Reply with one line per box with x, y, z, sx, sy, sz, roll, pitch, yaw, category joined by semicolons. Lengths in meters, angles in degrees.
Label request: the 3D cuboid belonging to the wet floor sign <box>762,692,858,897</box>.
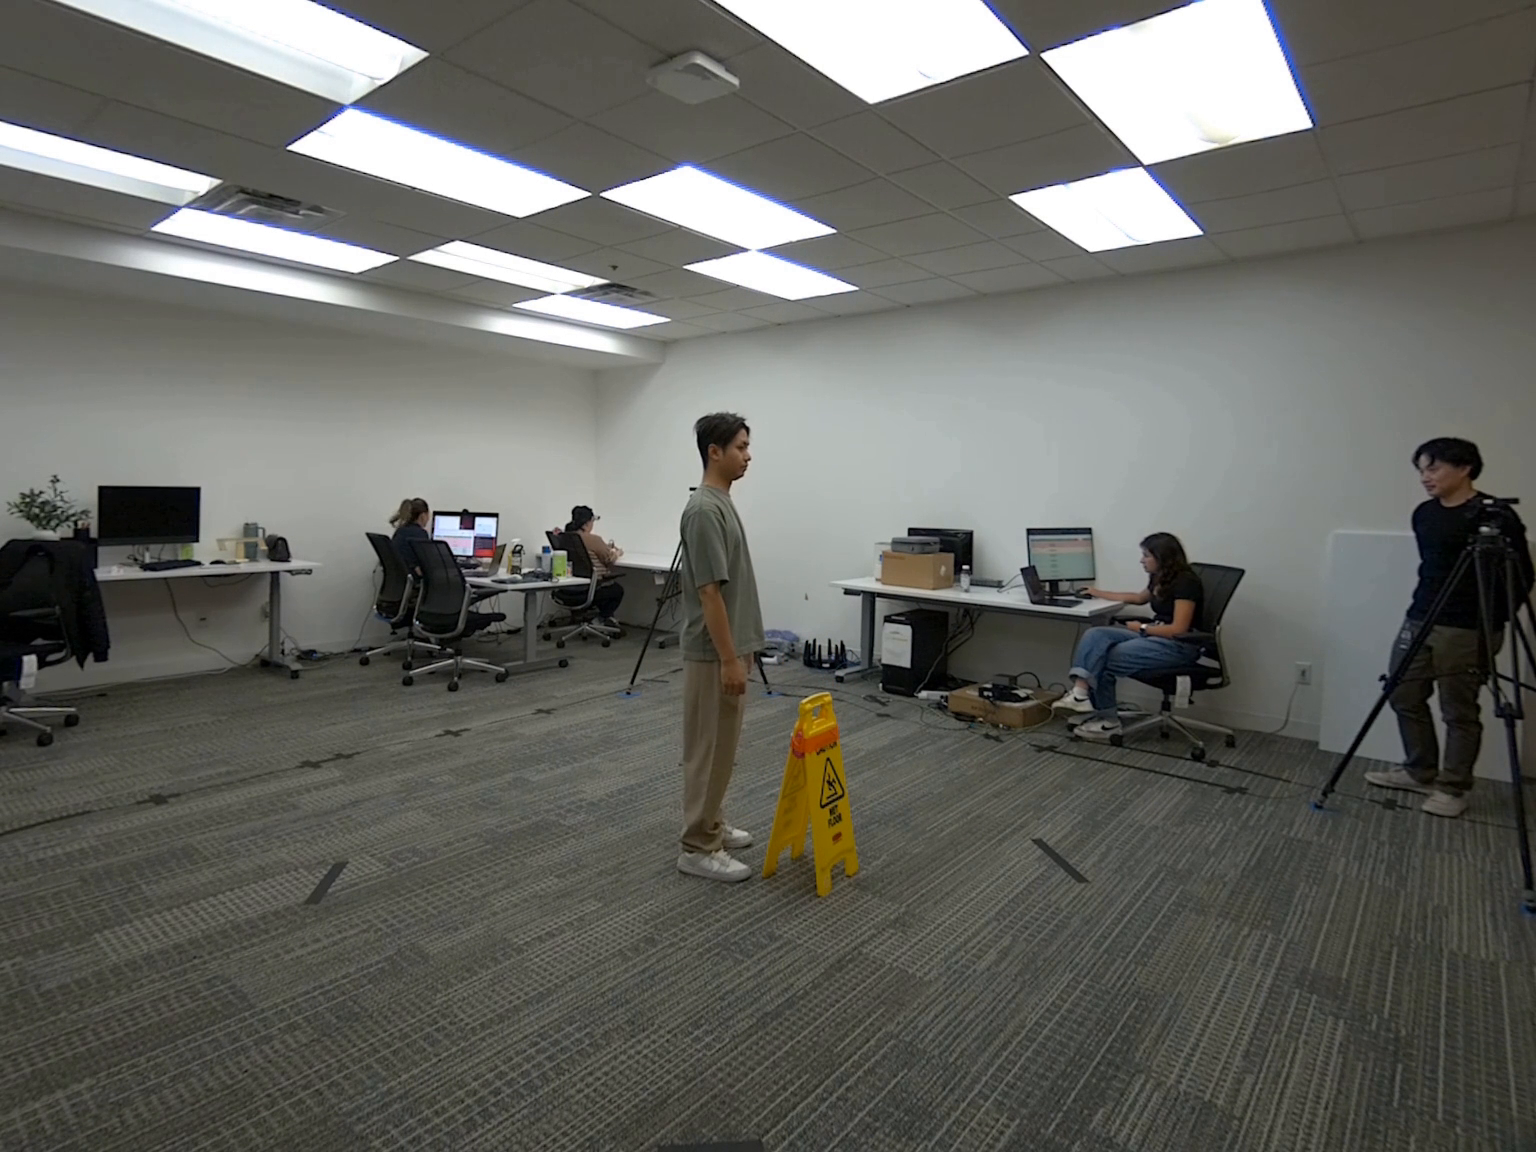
0.152;0.756;3.070;0.299;0.645;0.274;3;3;34;wet floor sign
